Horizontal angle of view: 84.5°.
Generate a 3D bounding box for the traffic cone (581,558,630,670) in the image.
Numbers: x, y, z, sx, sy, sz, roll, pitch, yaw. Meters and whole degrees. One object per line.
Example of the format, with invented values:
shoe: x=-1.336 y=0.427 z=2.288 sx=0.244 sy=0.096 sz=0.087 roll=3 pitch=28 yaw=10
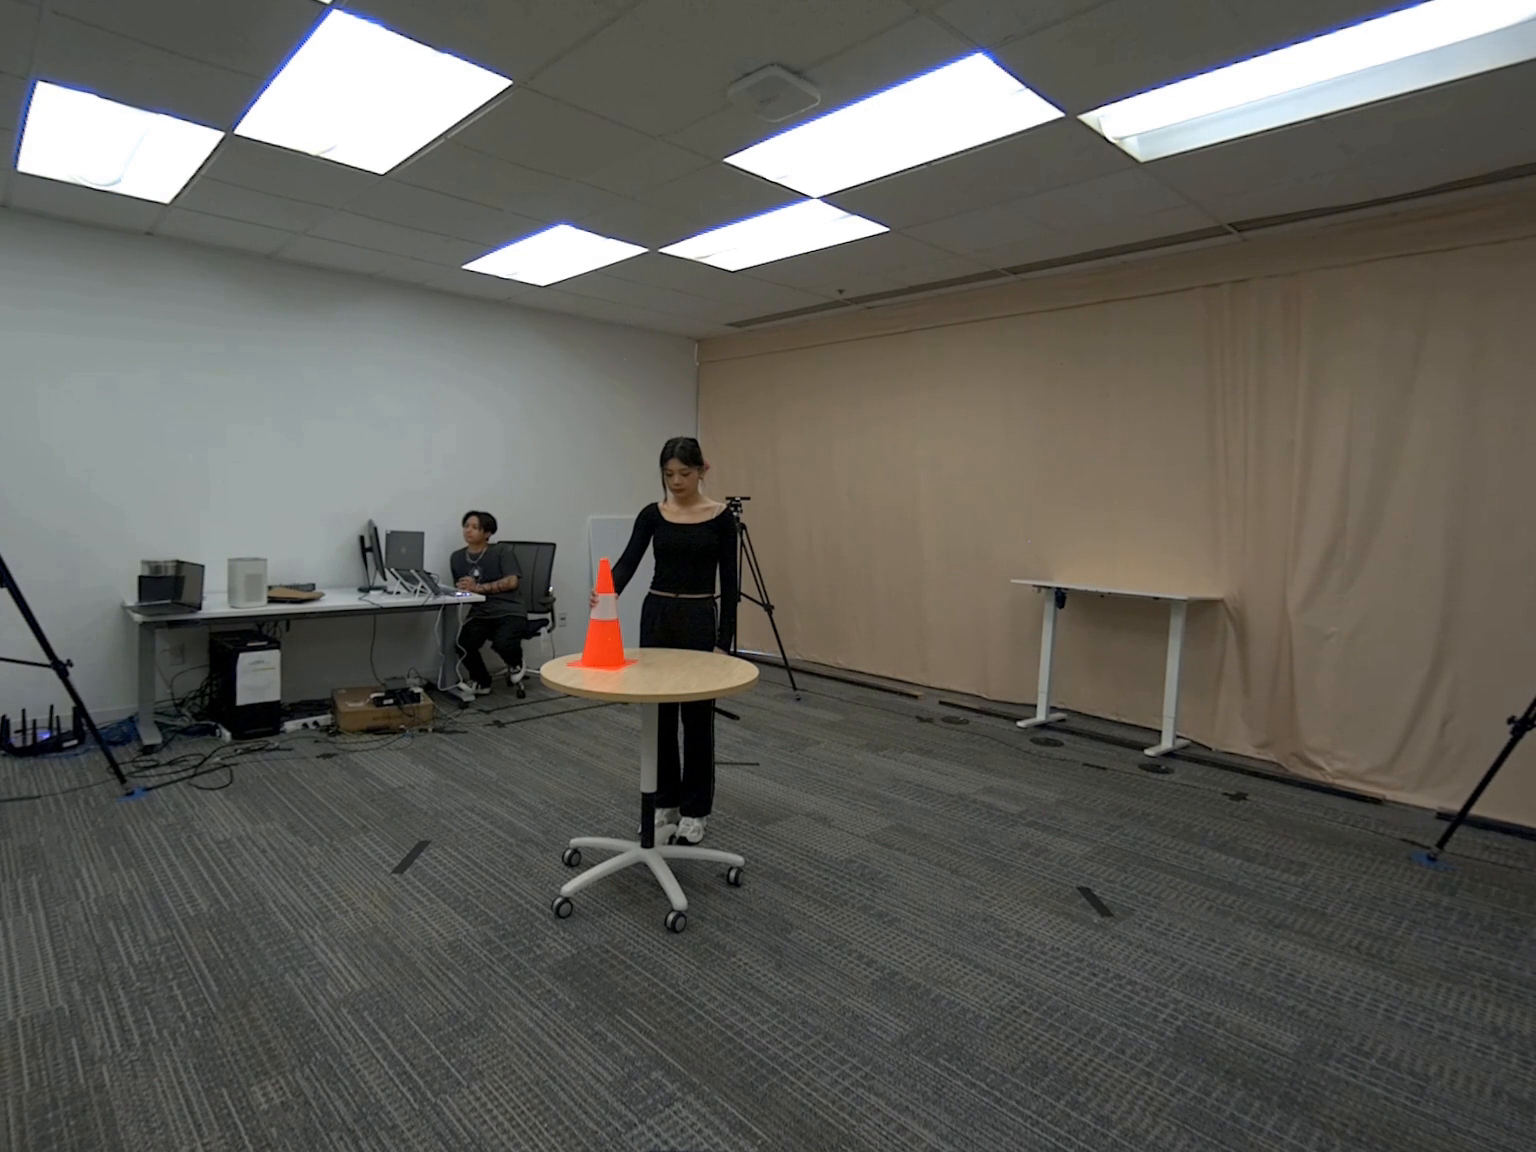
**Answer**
traffic cone: x=-0.591 y=0.129 z=3.034 sx=0.208 sy=0.383 sz=0.200 roll=4 pitch=2 yaw=21
